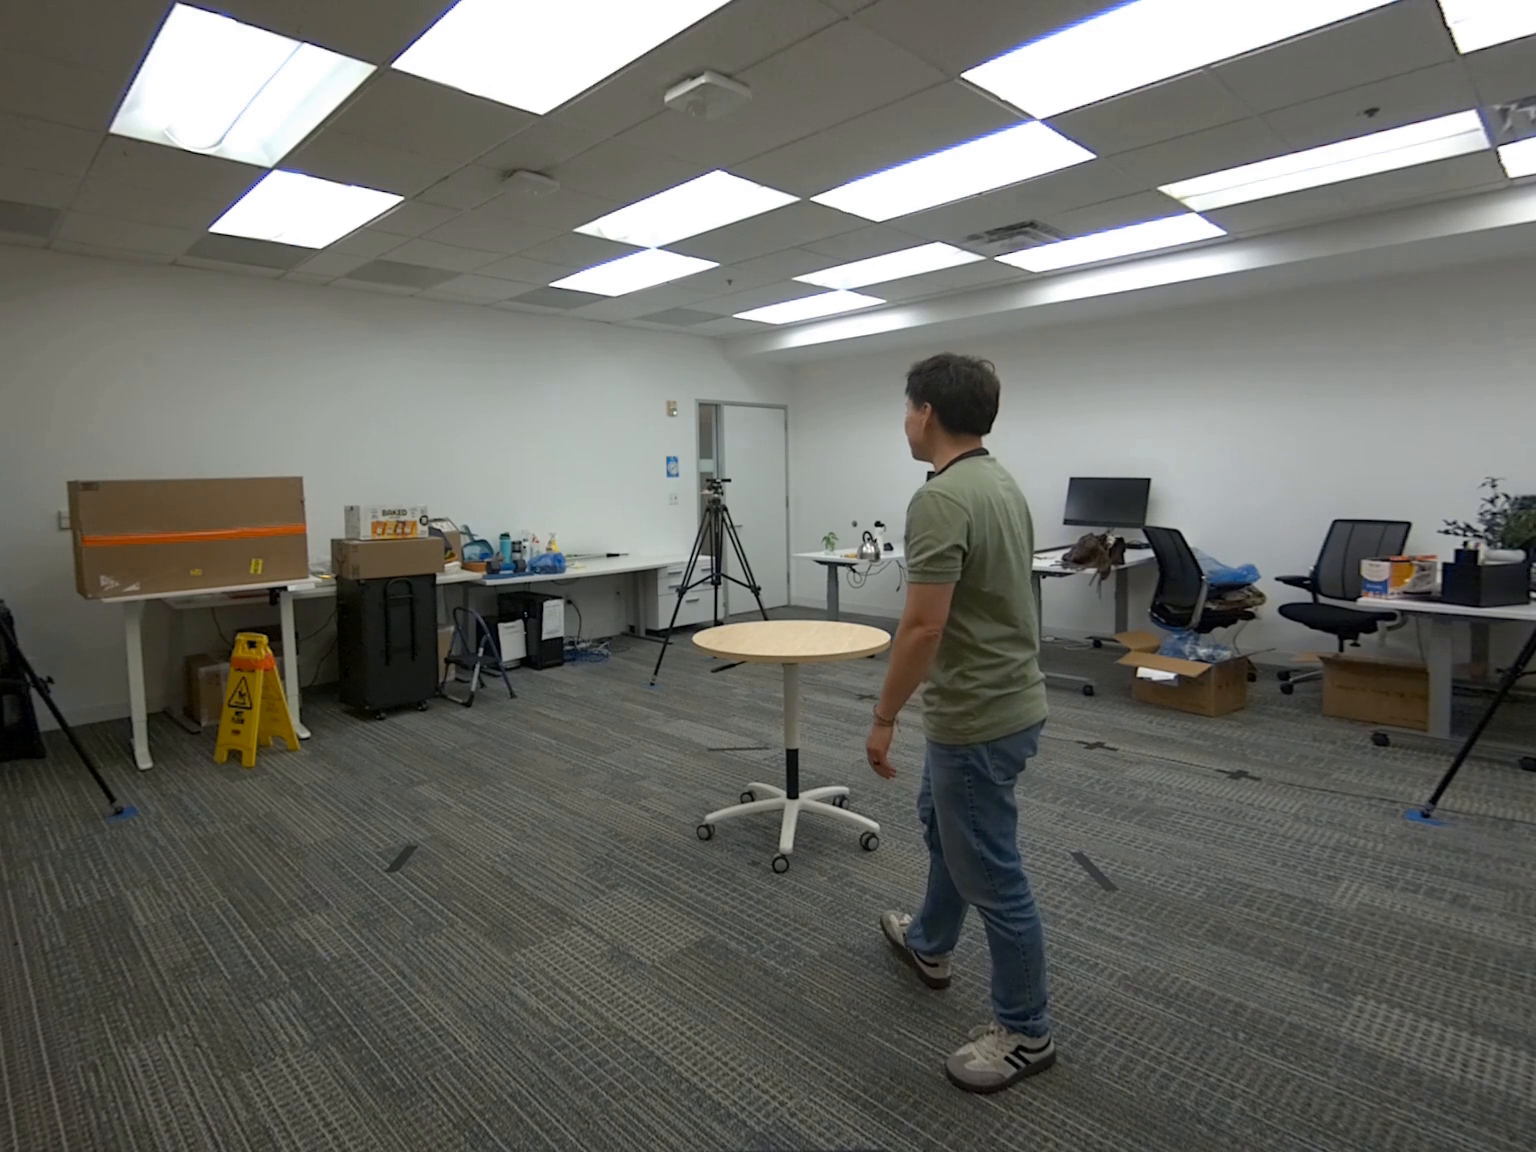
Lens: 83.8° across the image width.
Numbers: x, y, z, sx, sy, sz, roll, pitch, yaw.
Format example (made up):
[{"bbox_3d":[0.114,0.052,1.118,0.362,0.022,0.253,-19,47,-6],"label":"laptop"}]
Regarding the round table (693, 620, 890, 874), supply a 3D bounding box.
[{"bbox_3d":[0.094,0.627,3.347,0.763,0.791,0.768,-1,5,-2],"label":"round table"}]
